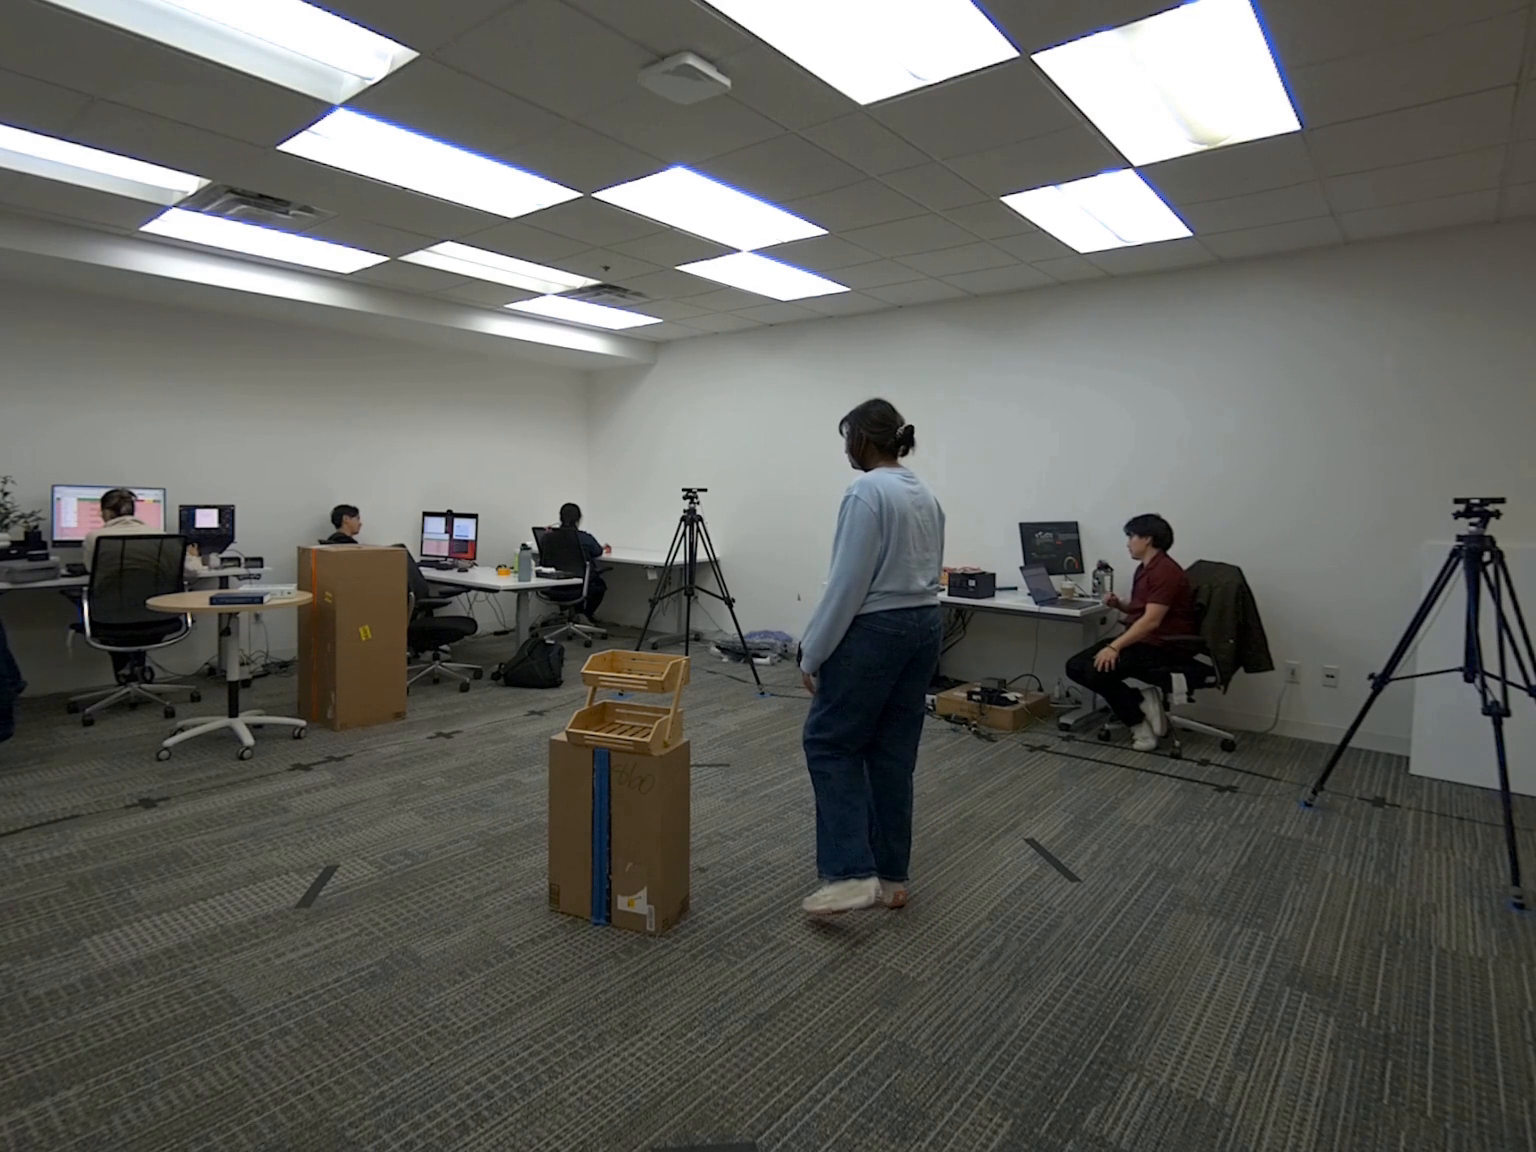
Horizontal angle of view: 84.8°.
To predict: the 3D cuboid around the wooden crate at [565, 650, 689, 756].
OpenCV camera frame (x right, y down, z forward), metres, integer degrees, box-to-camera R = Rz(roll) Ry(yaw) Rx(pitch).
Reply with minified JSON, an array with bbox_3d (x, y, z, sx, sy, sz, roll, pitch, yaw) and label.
[{"bbox_3d":[-0.464,0.402,2.779,0.331,0.273,0.296,2,3,20],"label":"wooden crate"}]
